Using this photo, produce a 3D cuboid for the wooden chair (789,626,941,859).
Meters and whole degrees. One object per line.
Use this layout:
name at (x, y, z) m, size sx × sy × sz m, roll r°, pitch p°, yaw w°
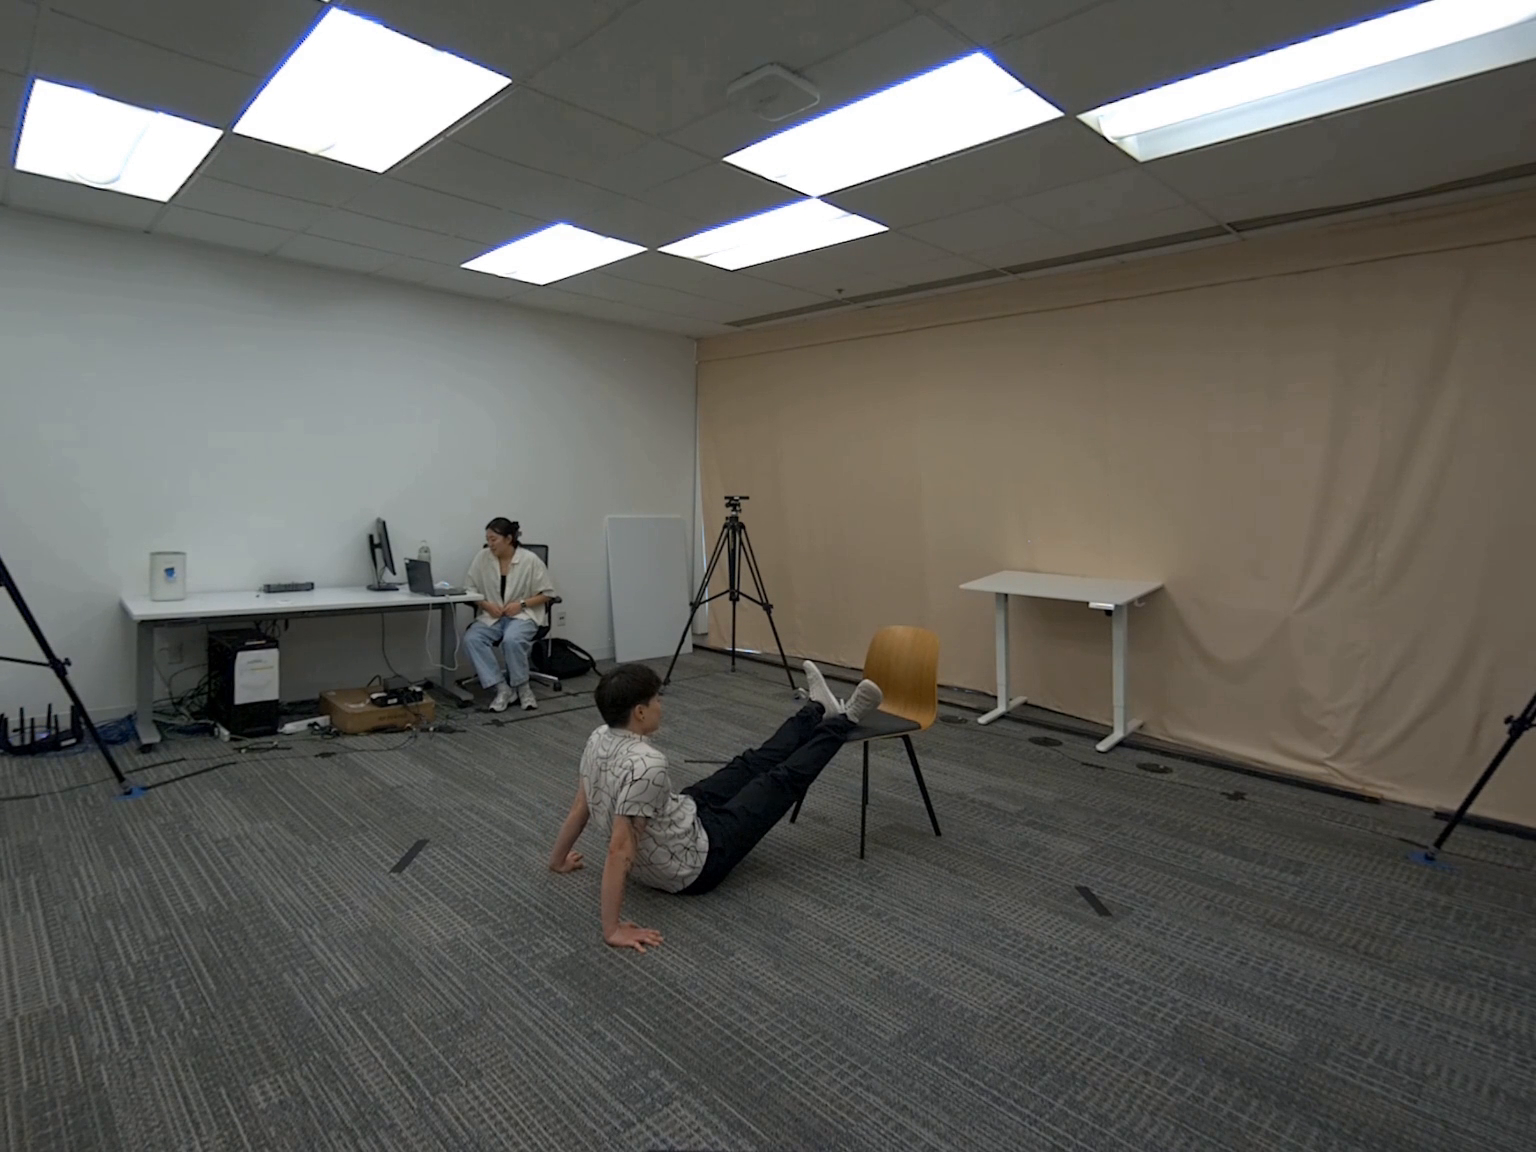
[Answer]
wooden chair at (0.406, 0.649, 3.548) m, size 0.511 × 0.877 × 0.490 m, roll 4°, pitch 1°, yaw -36°
